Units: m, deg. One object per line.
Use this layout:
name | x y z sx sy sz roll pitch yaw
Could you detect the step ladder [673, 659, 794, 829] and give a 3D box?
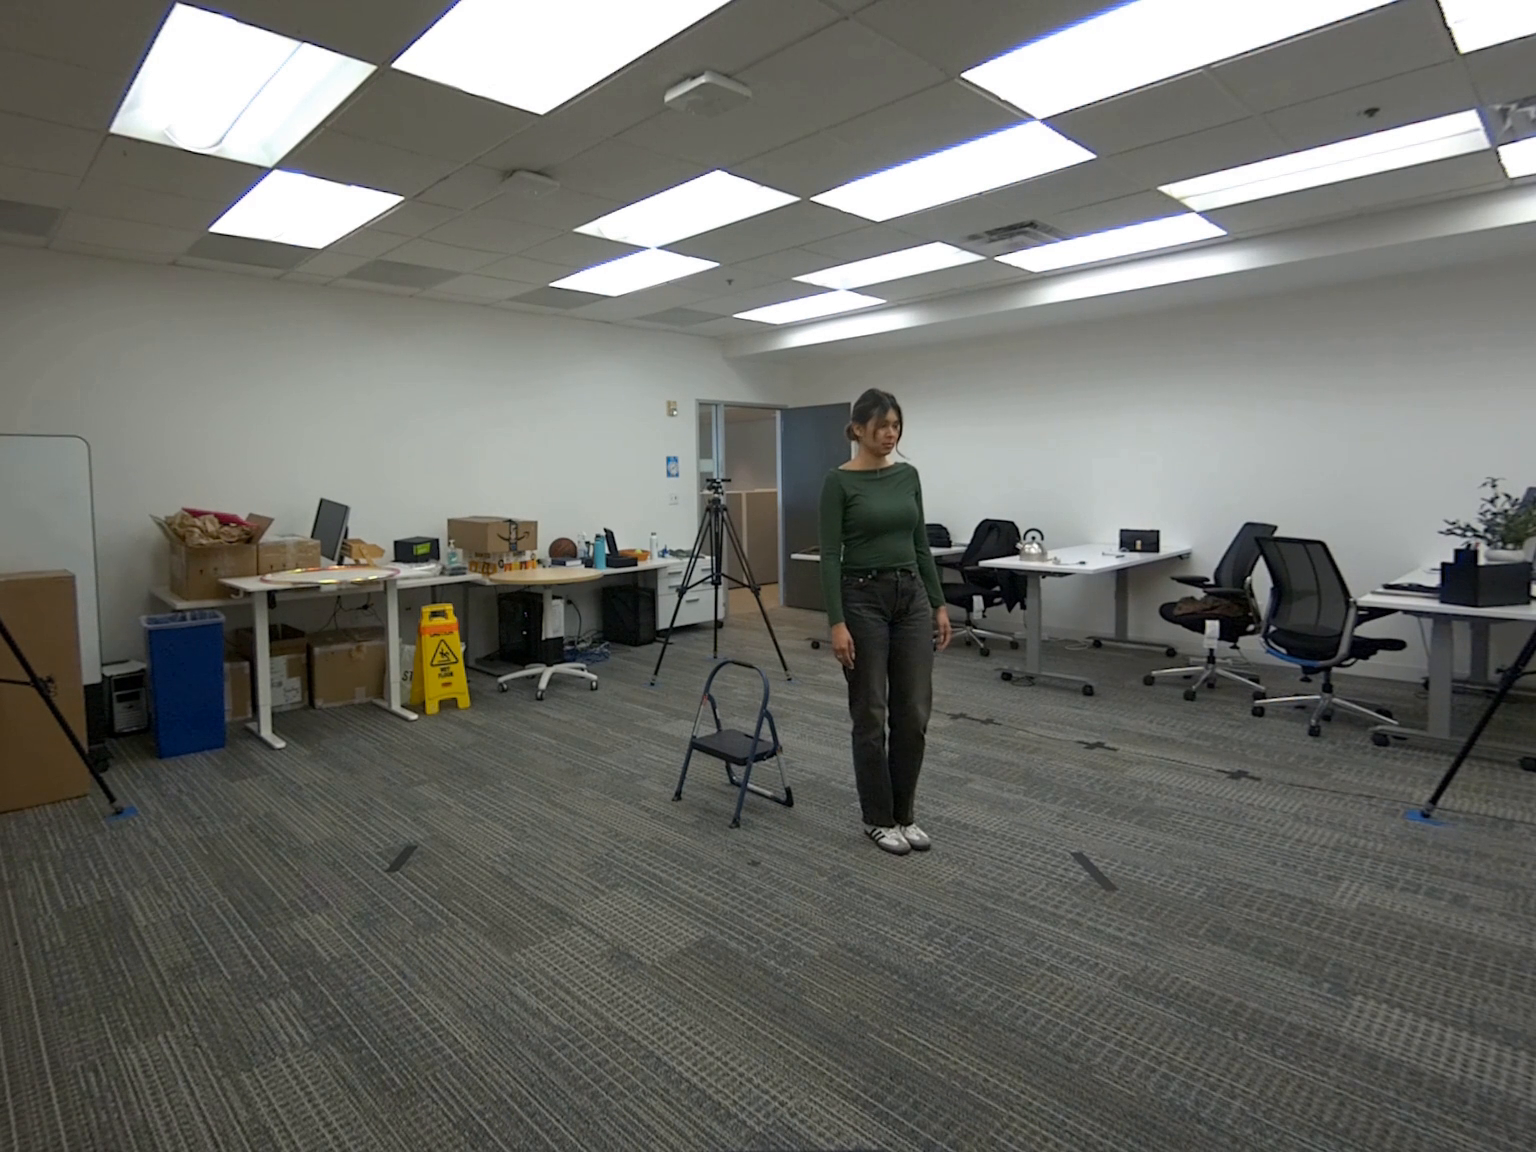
step ladder | -0.155 0.678 3.671 0.340 0.604 0.444 -4 5 -41
